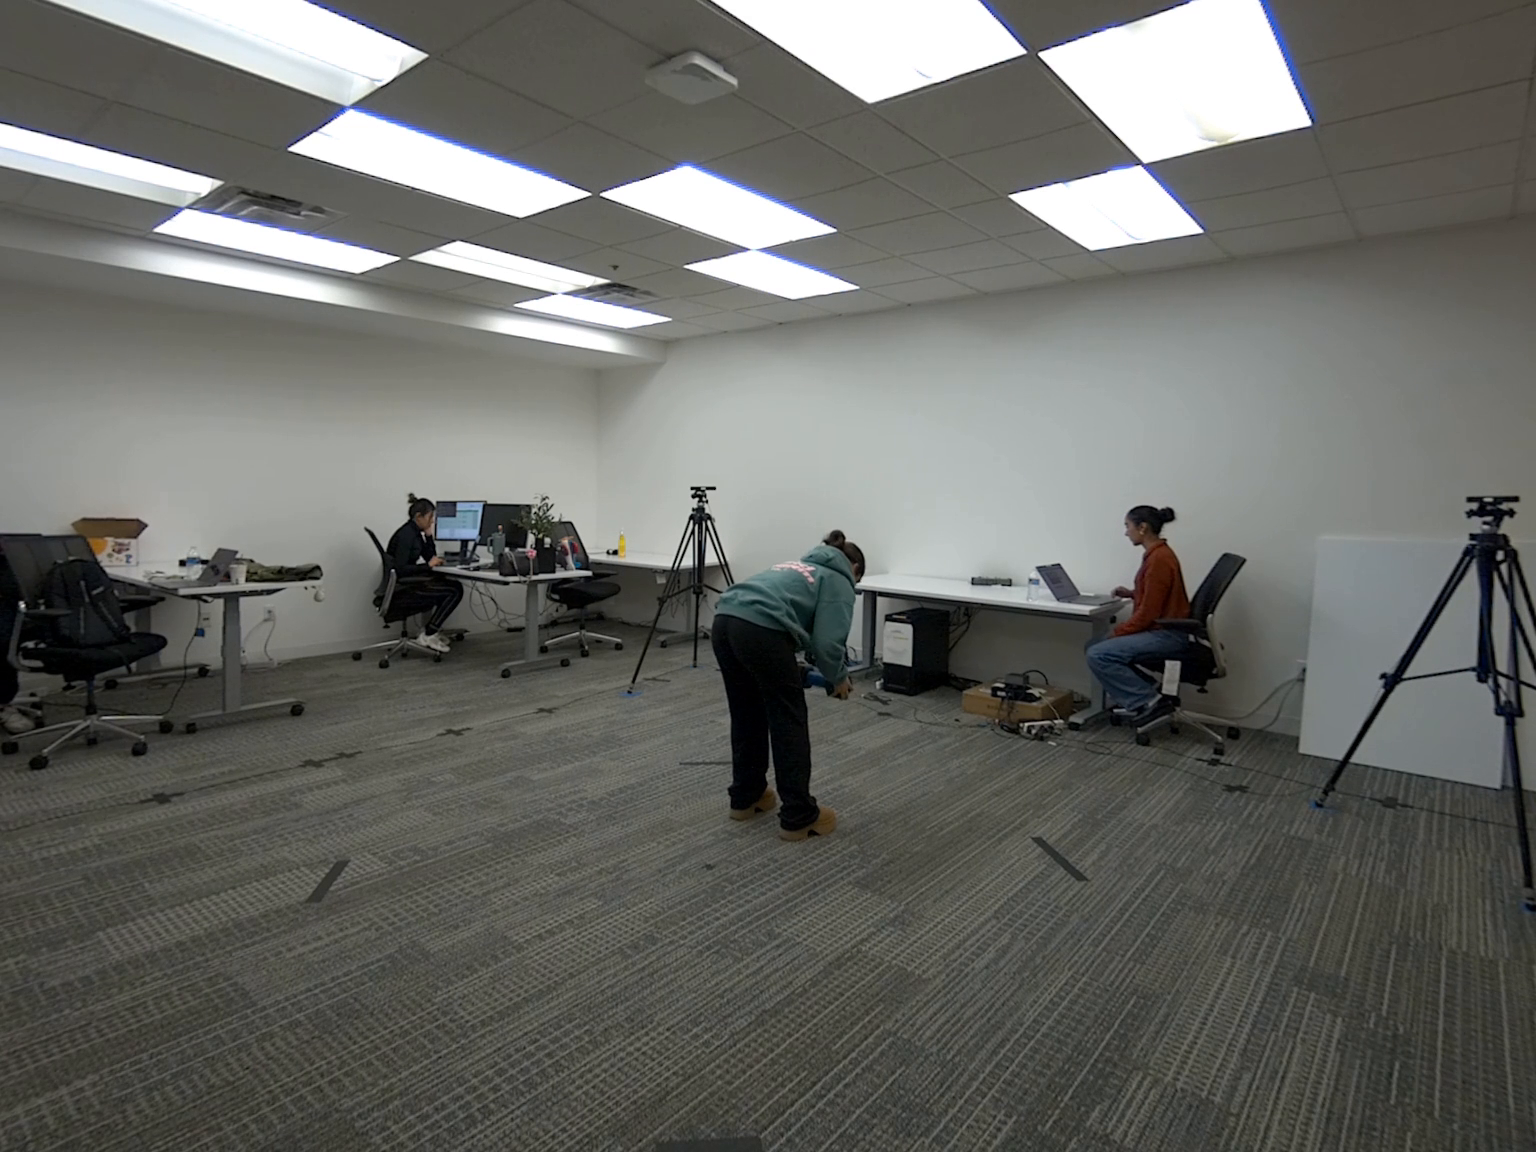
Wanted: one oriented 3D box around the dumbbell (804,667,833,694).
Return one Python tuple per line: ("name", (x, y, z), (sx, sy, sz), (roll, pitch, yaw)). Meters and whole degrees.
("dumbbell", (0.216, 0.456, 3.729), (0.304, 0.120, 0.107), (6, 28, 46))
